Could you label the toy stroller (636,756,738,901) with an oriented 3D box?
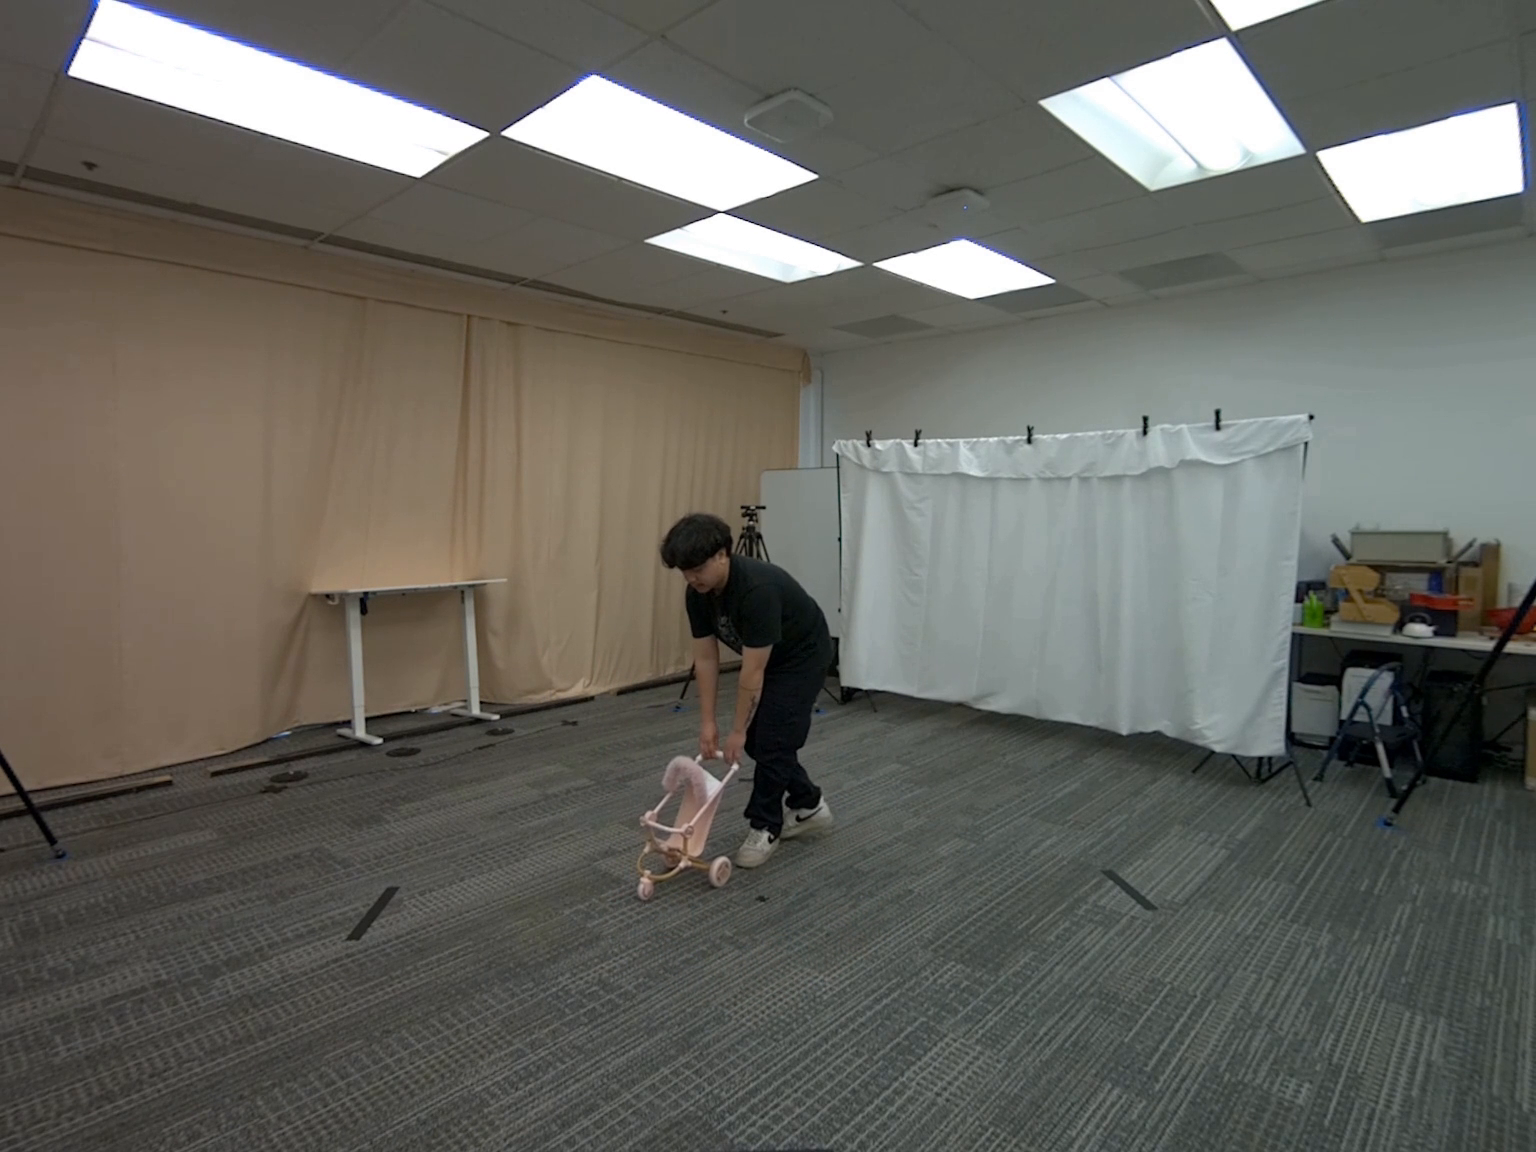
[{"bbox_3d":[-0.314,0.908,3.105,0.291,0.536,0.329,3,-10,45],"label":"toy stroller"}]
